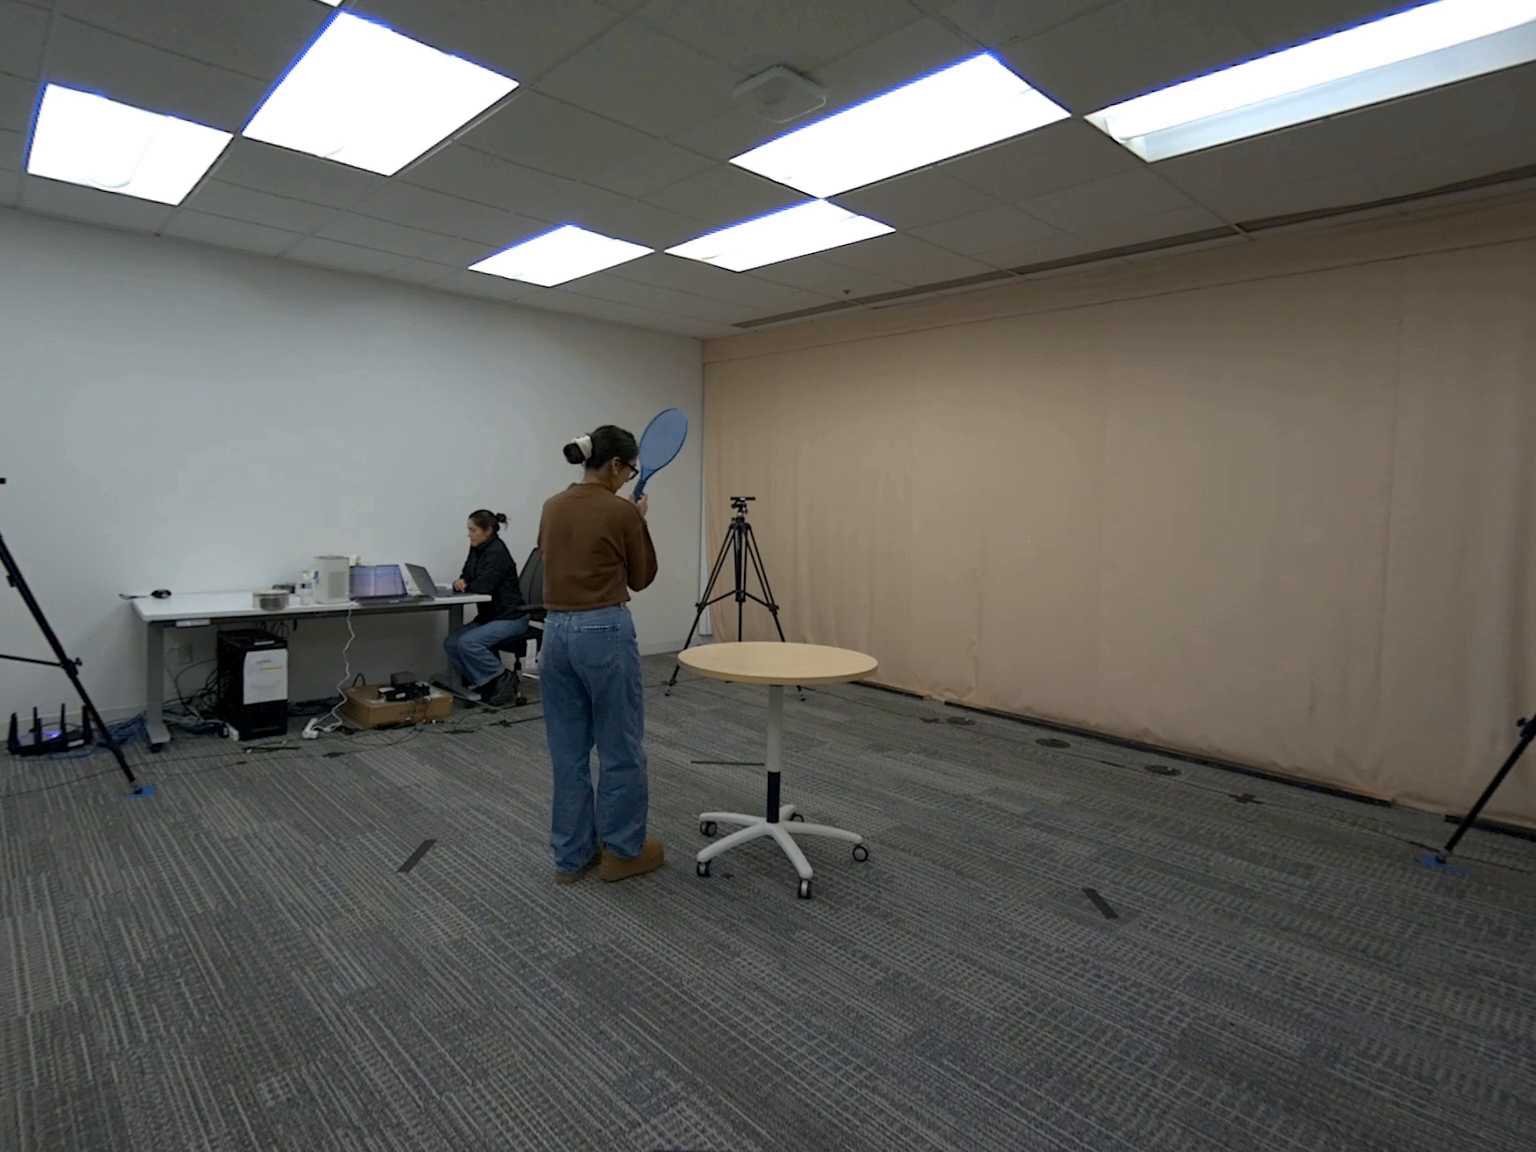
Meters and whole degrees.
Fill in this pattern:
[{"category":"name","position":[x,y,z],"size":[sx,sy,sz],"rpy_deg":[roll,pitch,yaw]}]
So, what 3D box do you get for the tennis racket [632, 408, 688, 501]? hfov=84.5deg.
[{"category":"tennis racket","position":[-0.446,-0.452,3.209],"size":[0.220,0.434,0.031],"rpy_deg":[20,-9,38]}]
